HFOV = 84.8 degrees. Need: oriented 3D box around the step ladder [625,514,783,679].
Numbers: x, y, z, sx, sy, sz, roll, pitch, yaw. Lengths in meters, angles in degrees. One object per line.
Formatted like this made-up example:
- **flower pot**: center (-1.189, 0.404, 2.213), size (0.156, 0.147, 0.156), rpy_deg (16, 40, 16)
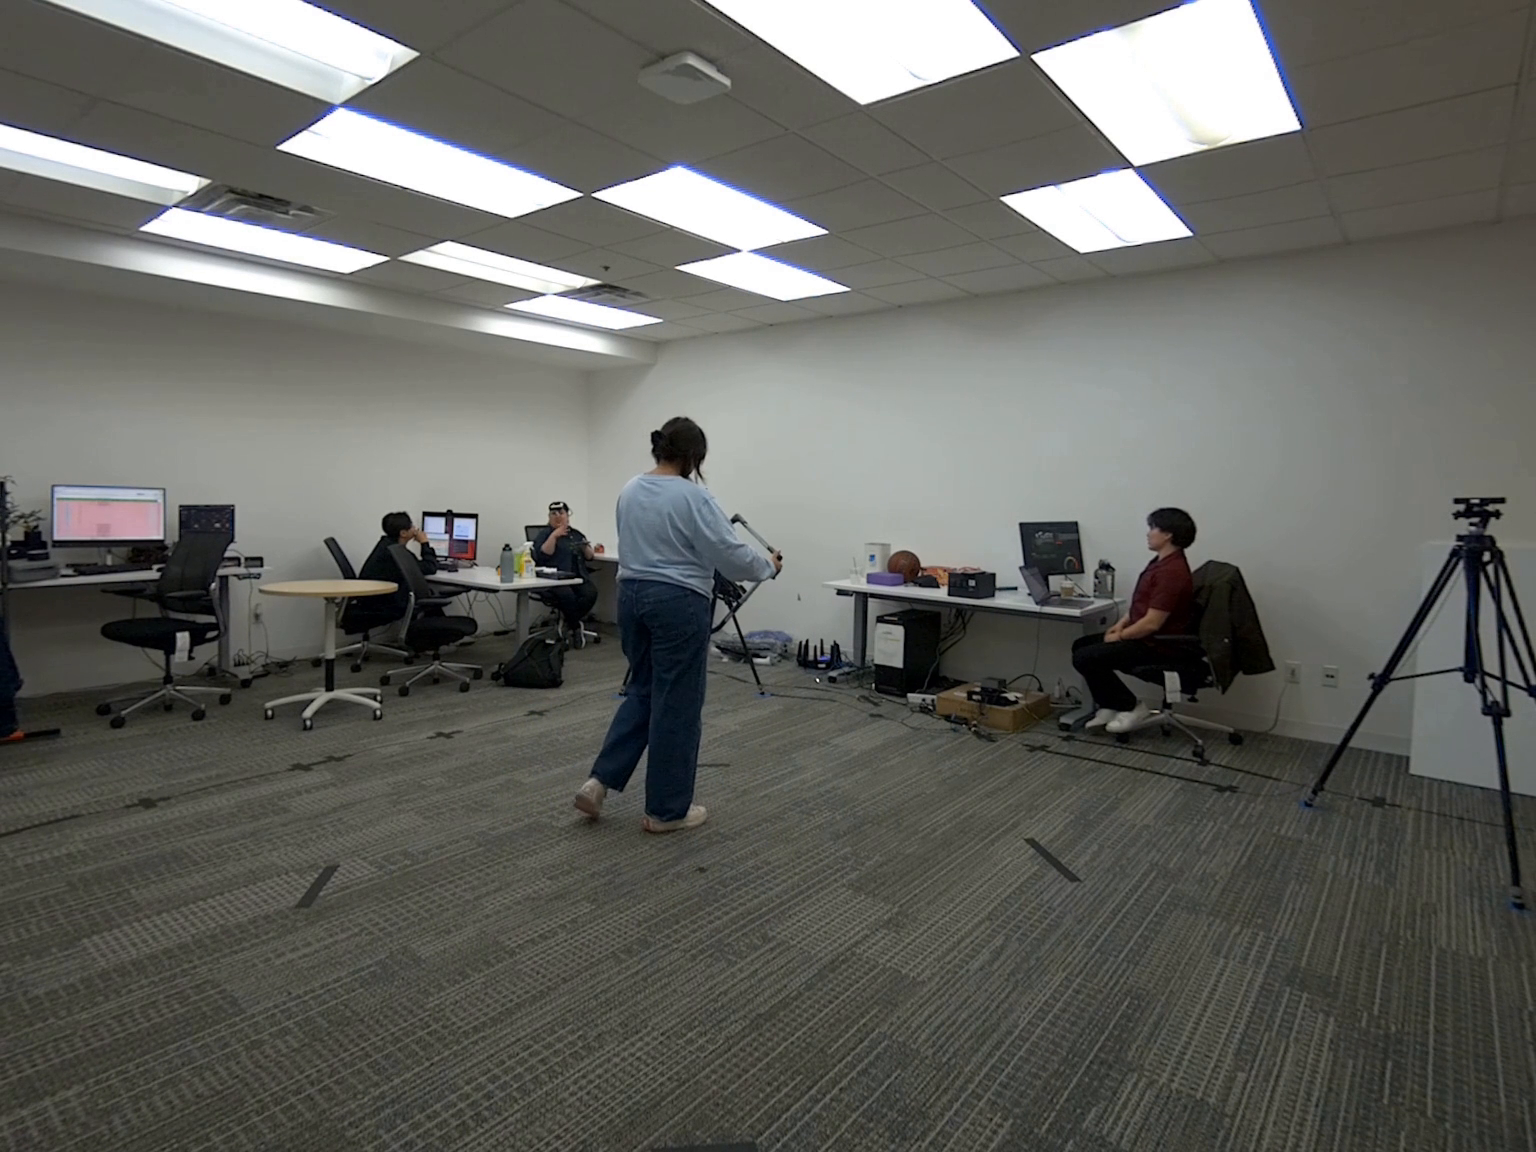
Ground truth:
- **step ladder**: center (-0.302, 0.029, 3.793), size (0.336, 0.603, 0.449), rpy_deg (17, 20, -38)
